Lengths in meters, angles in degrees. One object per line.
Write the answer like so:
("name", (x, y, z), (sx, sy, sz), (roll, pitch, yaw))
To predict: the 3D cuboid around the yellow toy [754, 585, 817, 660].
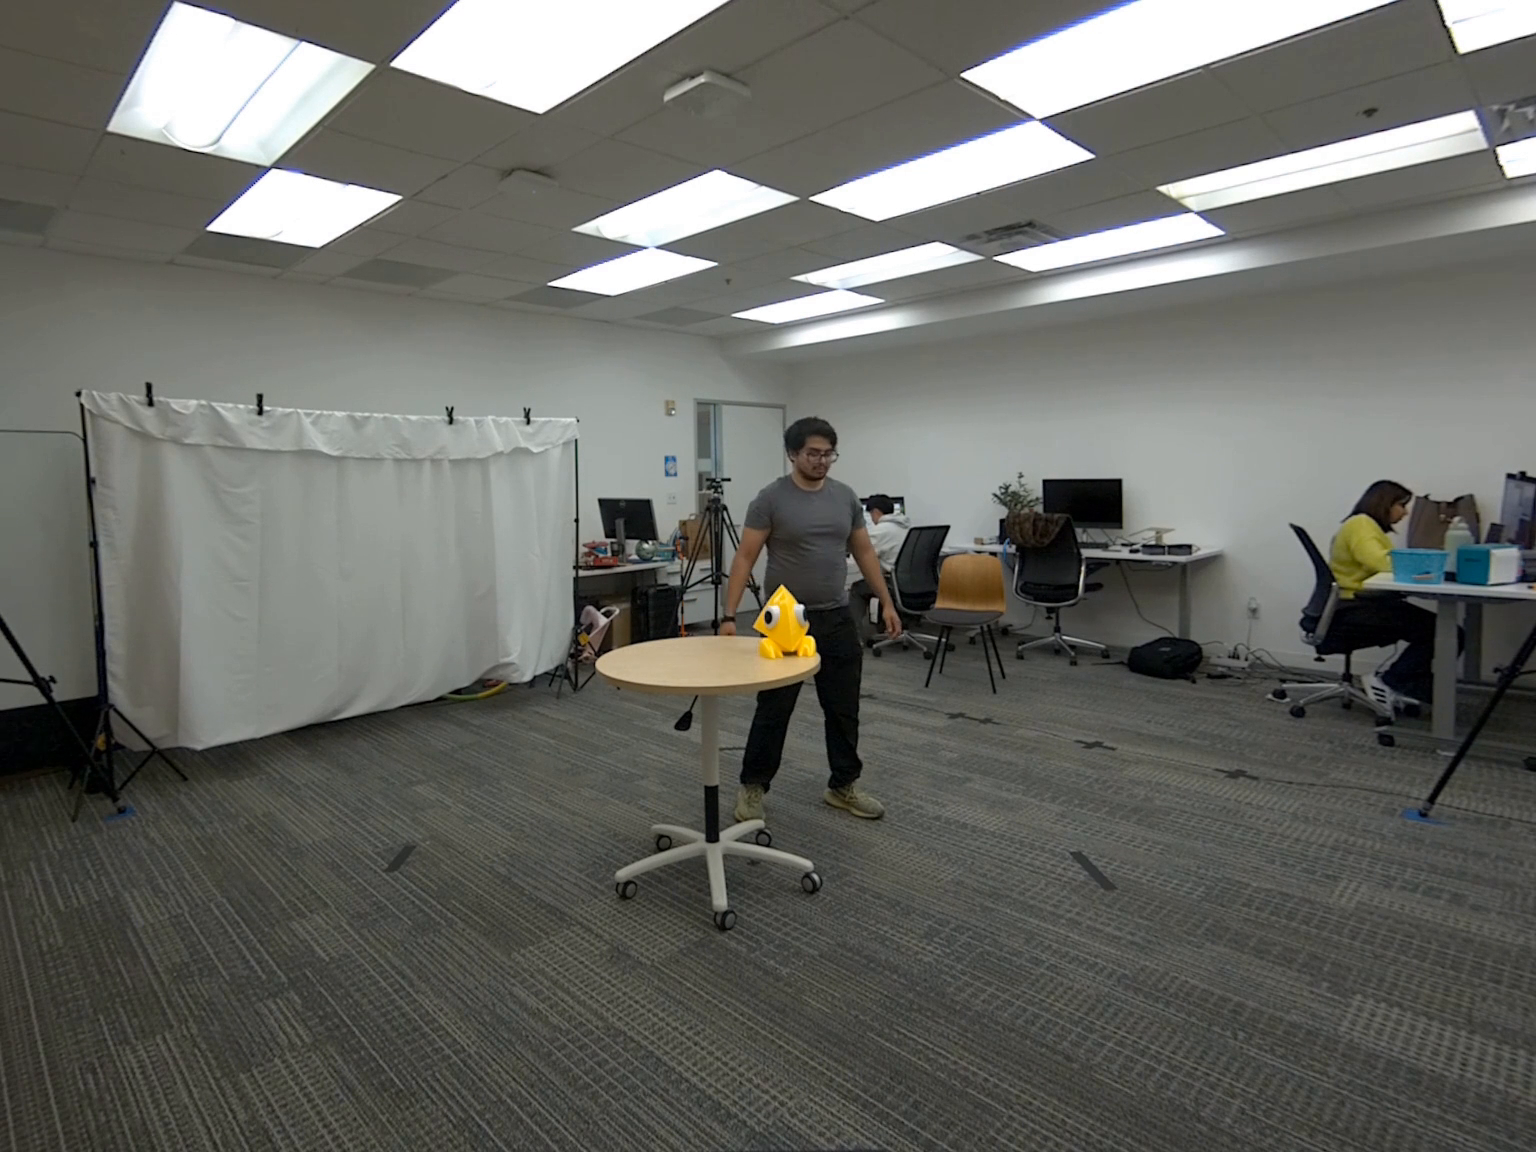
("yellow toy", (0.063, 0.157, 2.974), (0.203, 0.229, 0.195), (-1, 7, -8))
